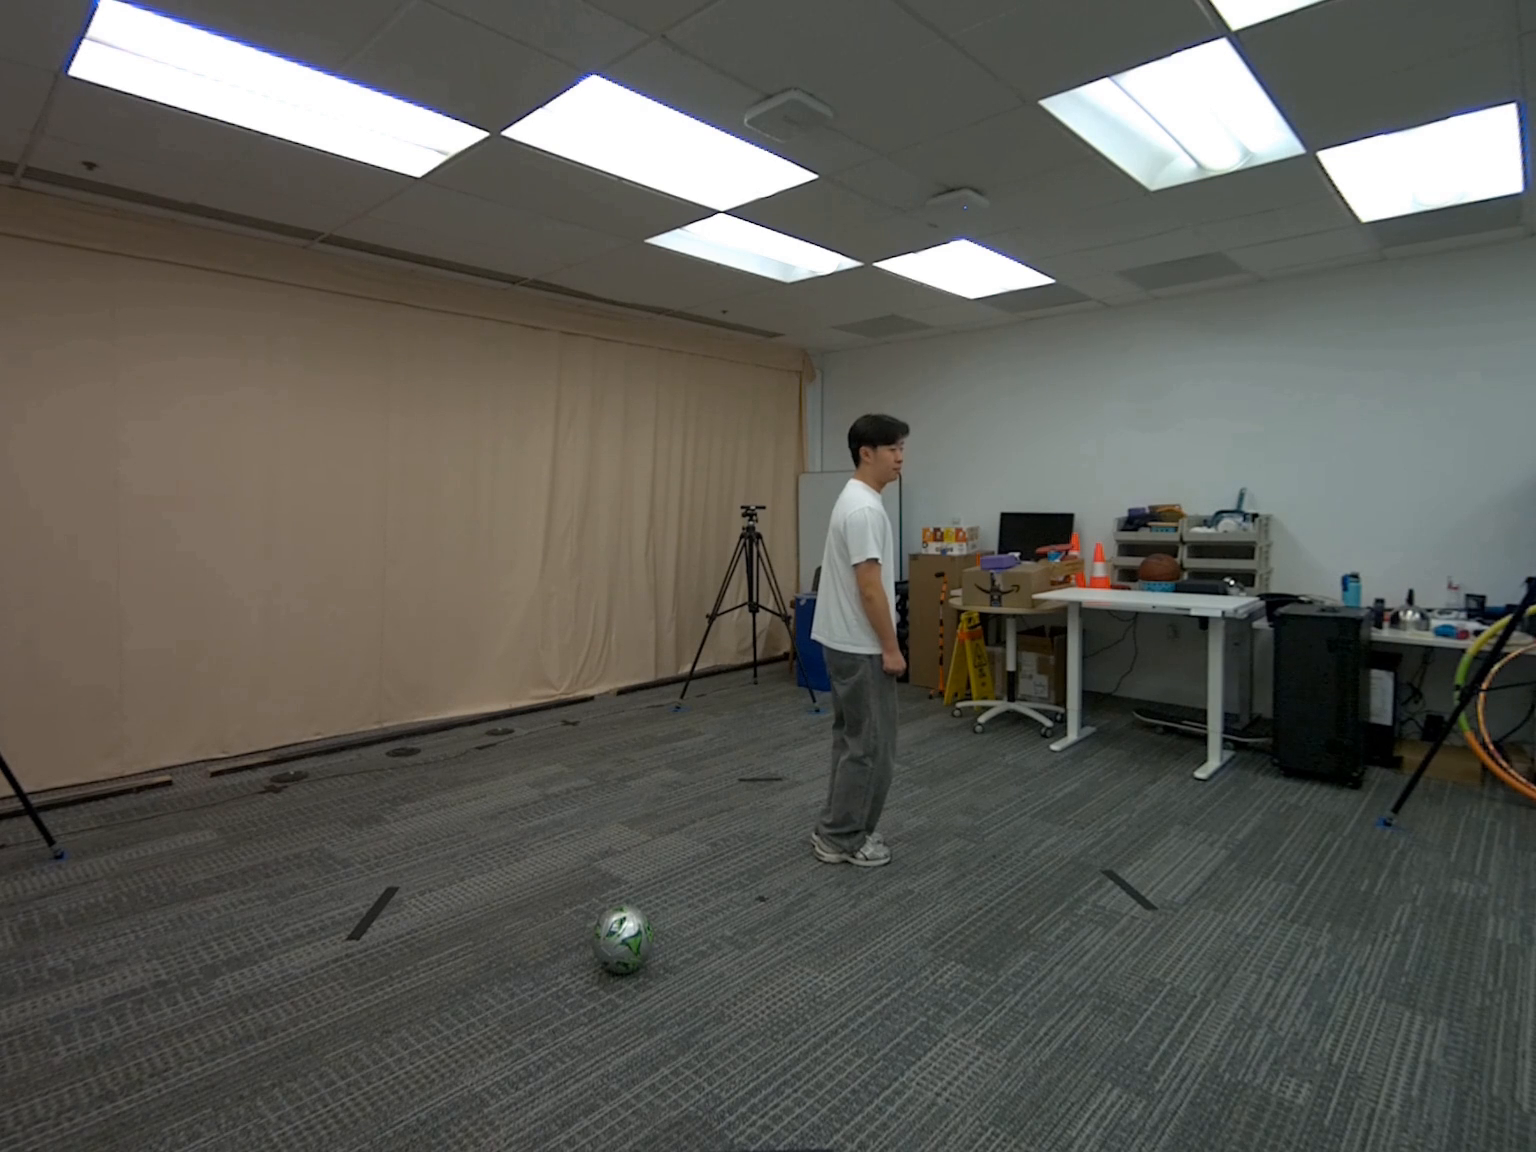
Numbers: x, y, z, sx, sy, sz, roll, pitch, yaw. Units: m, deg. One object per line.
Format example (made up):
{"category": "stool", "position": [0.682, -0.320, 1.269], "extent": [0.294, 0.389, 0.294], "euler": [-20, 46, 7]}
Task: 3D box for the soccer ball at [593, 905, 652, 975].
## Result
{"category": "soccer ball", "position": [-0.428, 1.093, 2.527], "extent": [0.187, 0.187, 0.188], "euler": [0, 4, -2]}
